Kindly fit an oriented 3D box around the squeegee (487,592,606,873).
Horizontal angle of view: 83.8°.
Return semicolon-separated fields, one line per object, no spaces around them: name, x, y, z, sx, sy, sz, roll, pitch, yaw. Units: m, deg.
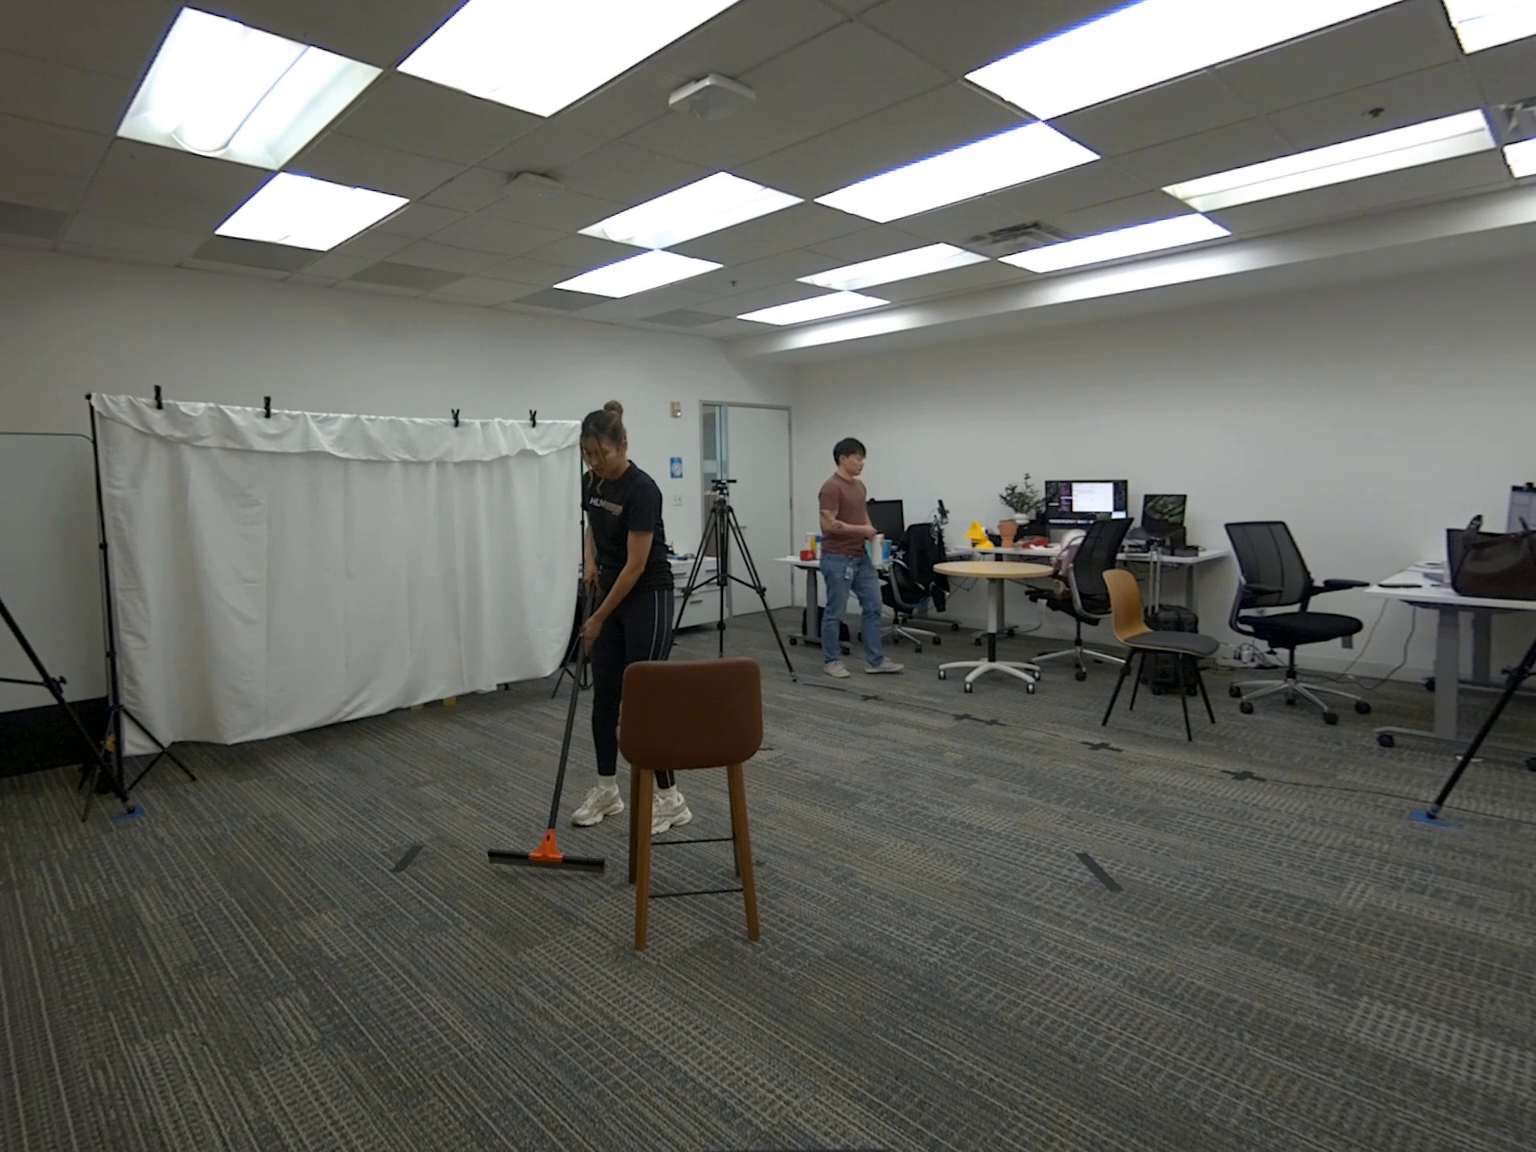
squeegee;-0.751;0.358;3.392;0.441;1.572;0.051;-2;-30;8
